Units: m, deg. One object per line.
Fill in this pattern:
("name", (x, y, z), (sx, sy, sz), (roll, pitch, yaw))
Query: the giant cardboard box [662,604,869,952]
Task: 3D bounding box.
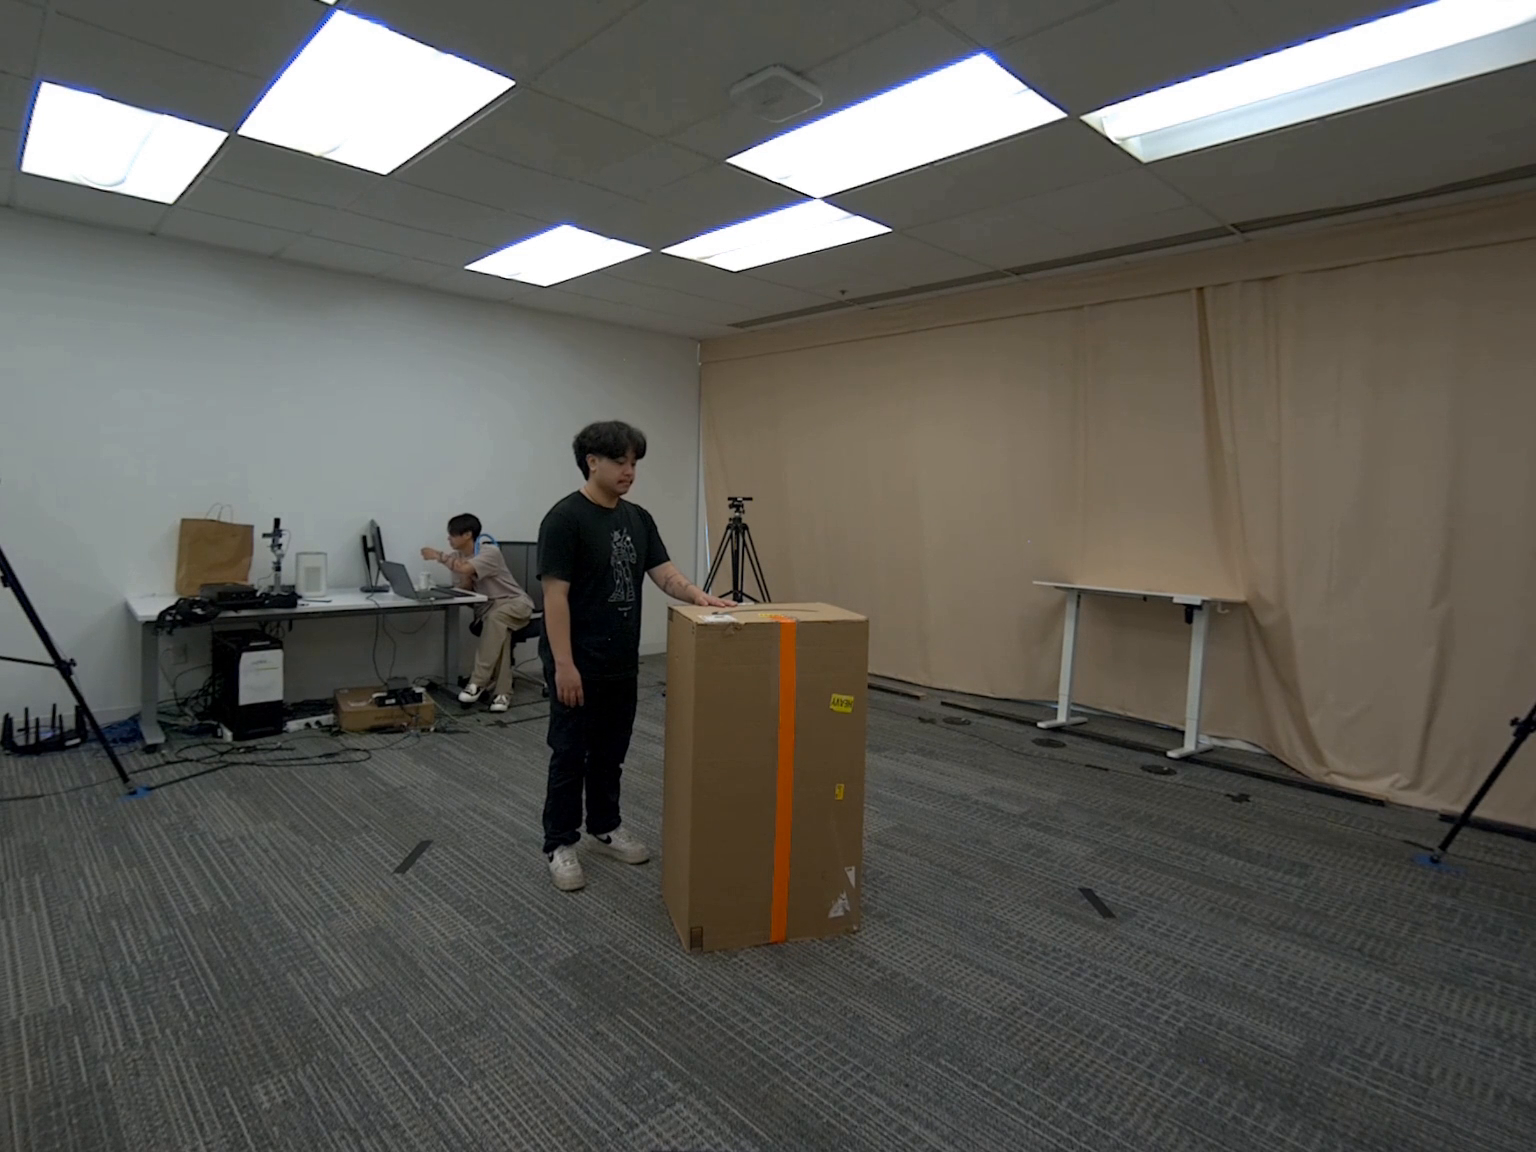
("giant cardboard box", (-0.031, 0.625, 2.813), (0.576, 1.024, 0.454), (0, 4, -17))
